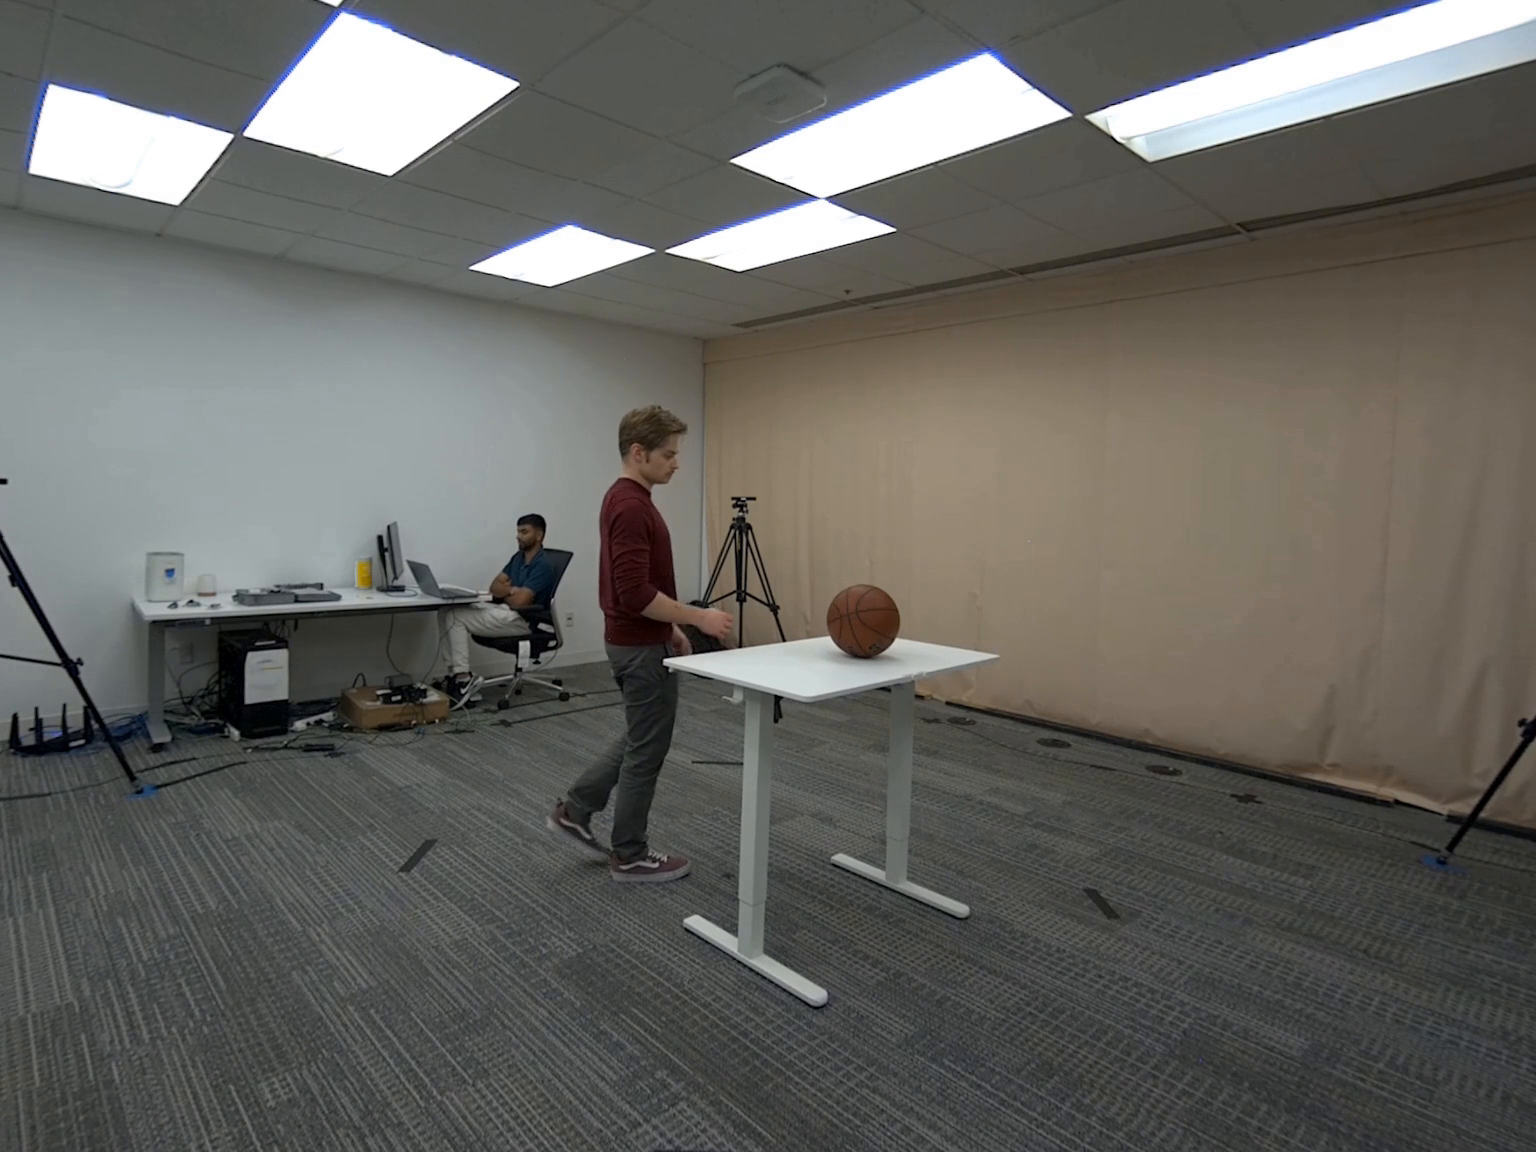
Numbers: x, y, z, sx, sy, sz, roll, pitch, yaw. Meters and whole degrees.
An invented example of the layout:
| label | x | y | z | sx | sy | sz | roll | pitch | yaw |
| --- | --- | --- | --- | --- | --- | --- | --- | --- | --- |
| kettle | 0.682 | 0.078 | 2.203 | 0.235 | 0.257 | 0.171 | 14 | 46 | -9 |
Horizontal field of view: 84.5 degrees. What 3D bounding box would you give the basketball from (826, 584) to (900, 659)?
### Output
| label | x | y | z | sx | sy | sz | roll | pitch | yaw |
| --- | --- | --- | --- | --- | --- | --- | --- | --- | --- |
| basketball | 0.301 | 0.143 | 2.766 | 0.236 | 0.235 | 0.237 | 1 | 4 | -1 |
